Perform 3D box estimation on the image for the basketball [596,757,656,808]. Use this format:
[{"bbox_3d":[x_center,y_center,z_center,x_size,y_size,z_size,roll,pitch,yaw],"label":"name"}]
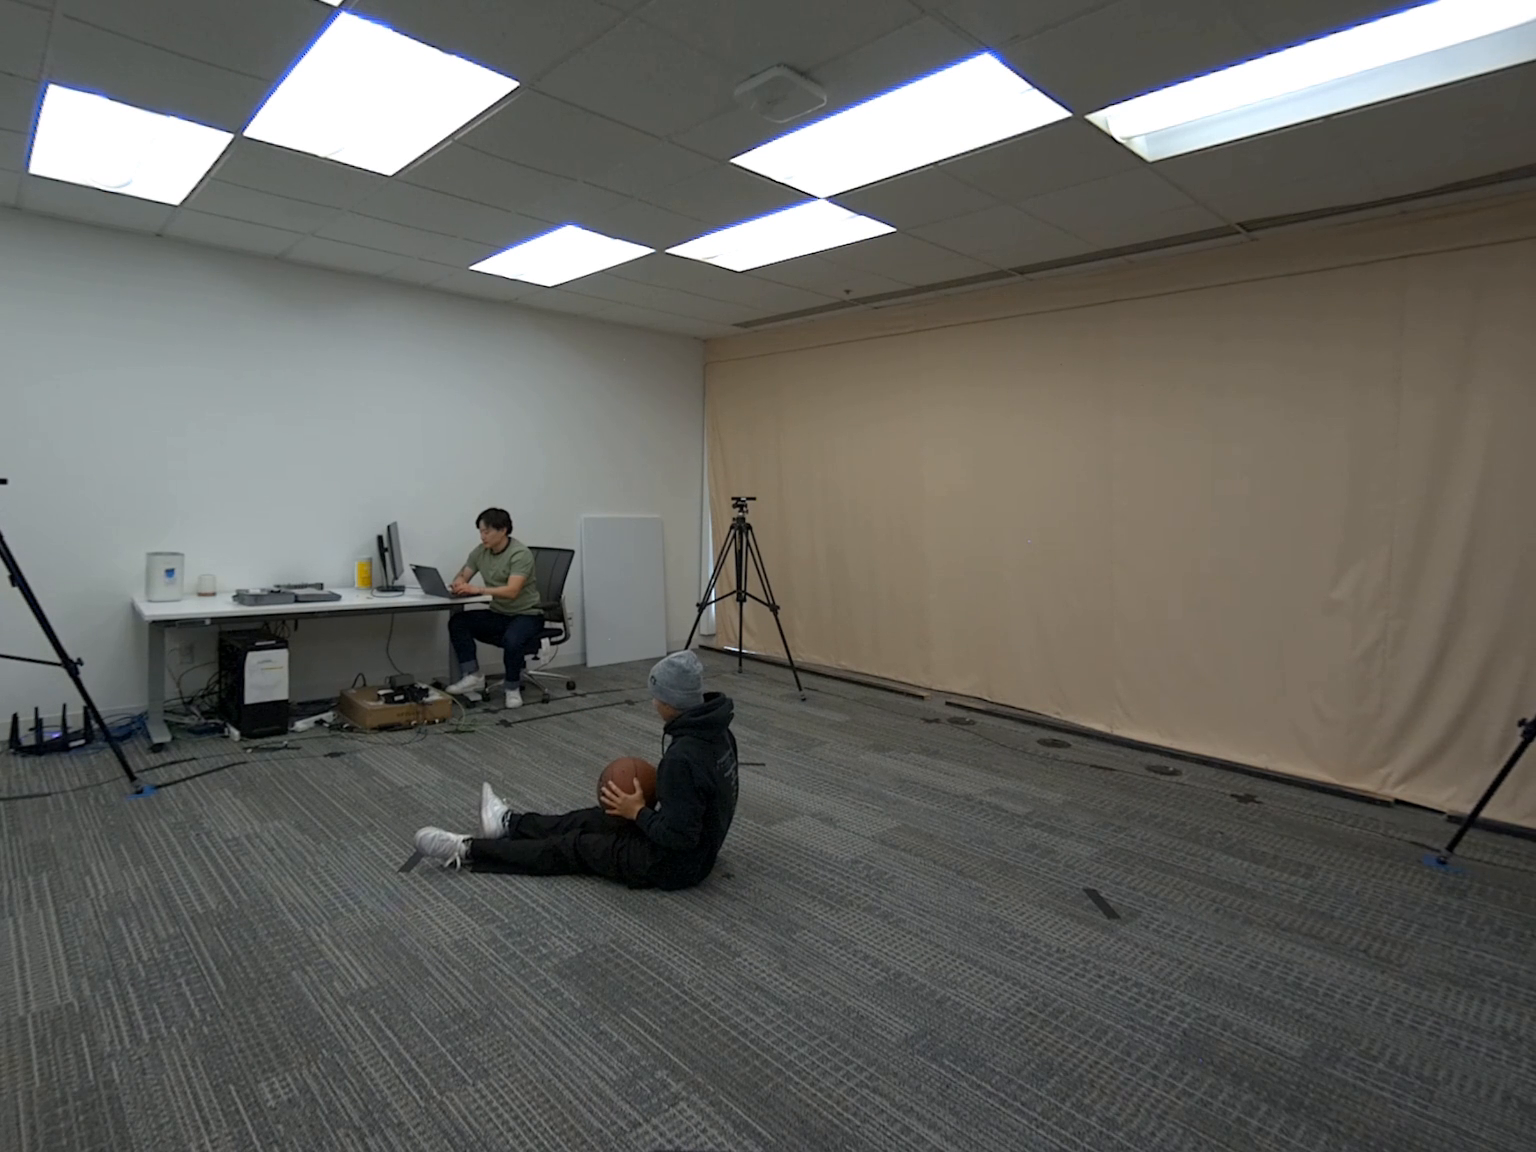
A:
[{"bbox_3d":[-0.524,0.798,3.165,0.236,0.235,0.237,1,4,-1],"label":"basketball"}]
